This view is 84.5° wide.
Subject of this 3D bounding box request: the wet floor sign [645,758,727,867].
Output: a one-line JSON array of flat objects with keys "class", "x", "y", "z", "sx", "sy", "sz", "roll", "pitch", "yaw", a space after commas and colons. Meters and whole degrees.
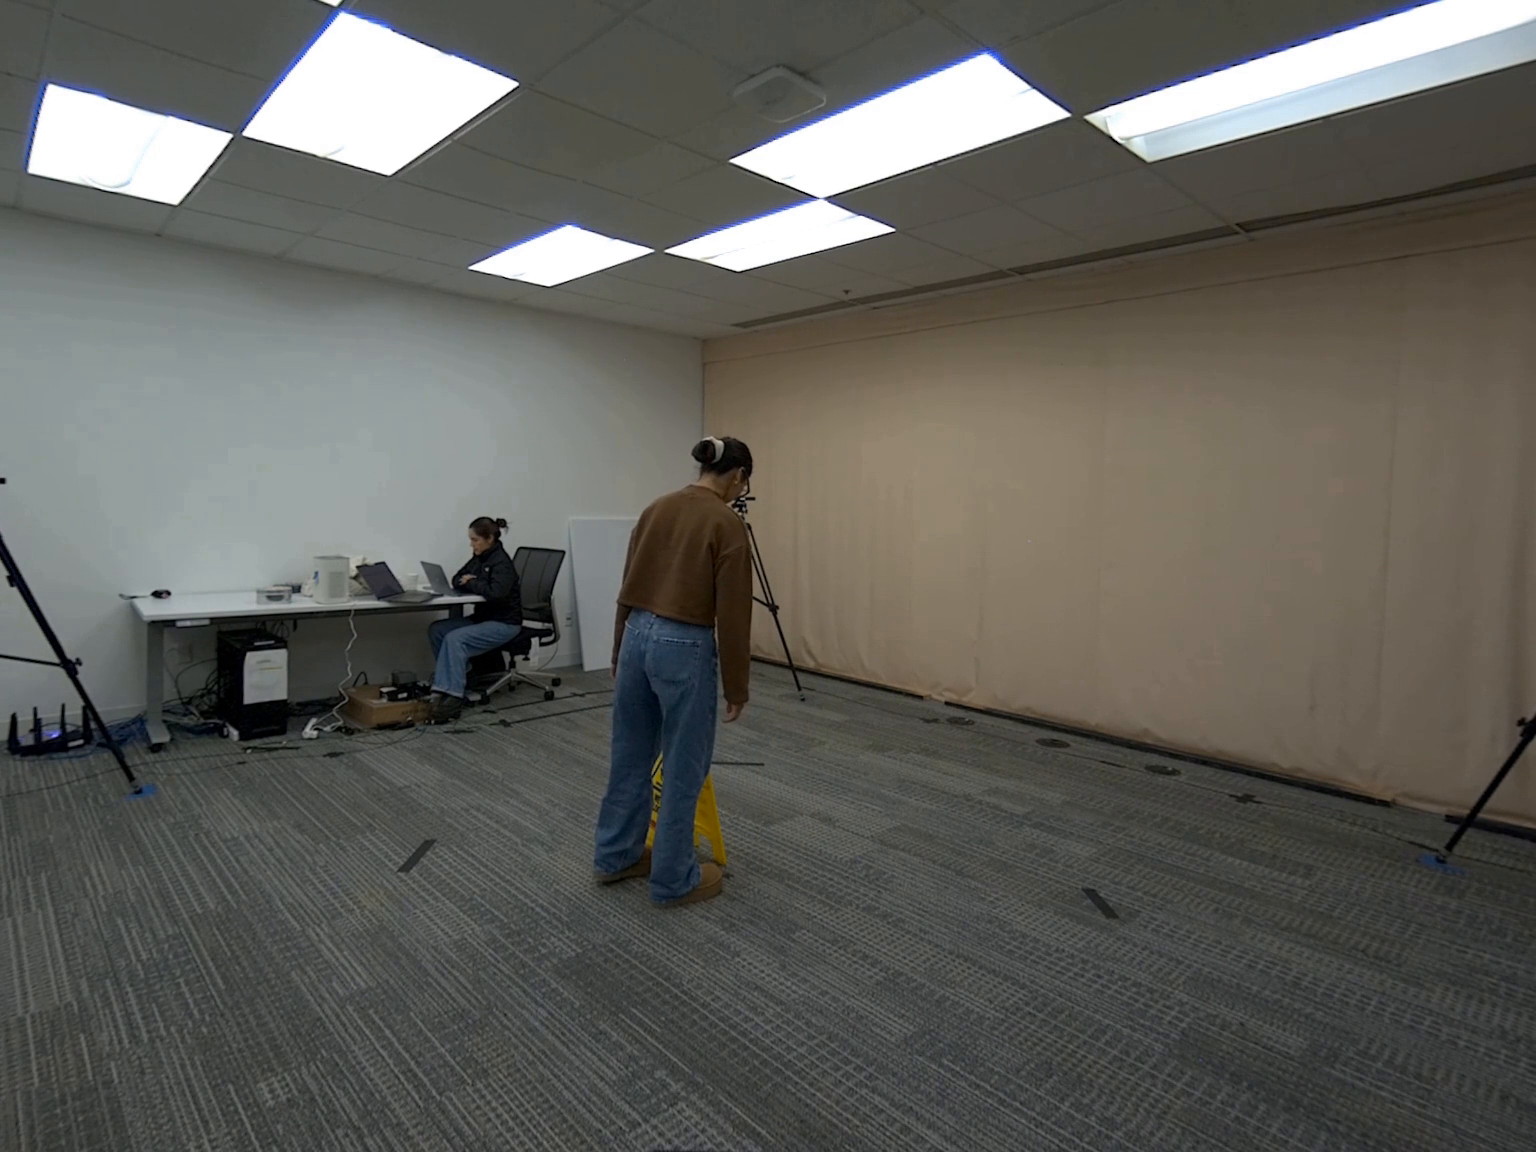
[{"class": "wet floor sign", "x": -0.339, "y": 0.774, "z": 3.222, "sx": 0.284, "sy": 0.645, "sz": 0.288, "roll": 0, "pitch": 2, "yaw": -30}]
